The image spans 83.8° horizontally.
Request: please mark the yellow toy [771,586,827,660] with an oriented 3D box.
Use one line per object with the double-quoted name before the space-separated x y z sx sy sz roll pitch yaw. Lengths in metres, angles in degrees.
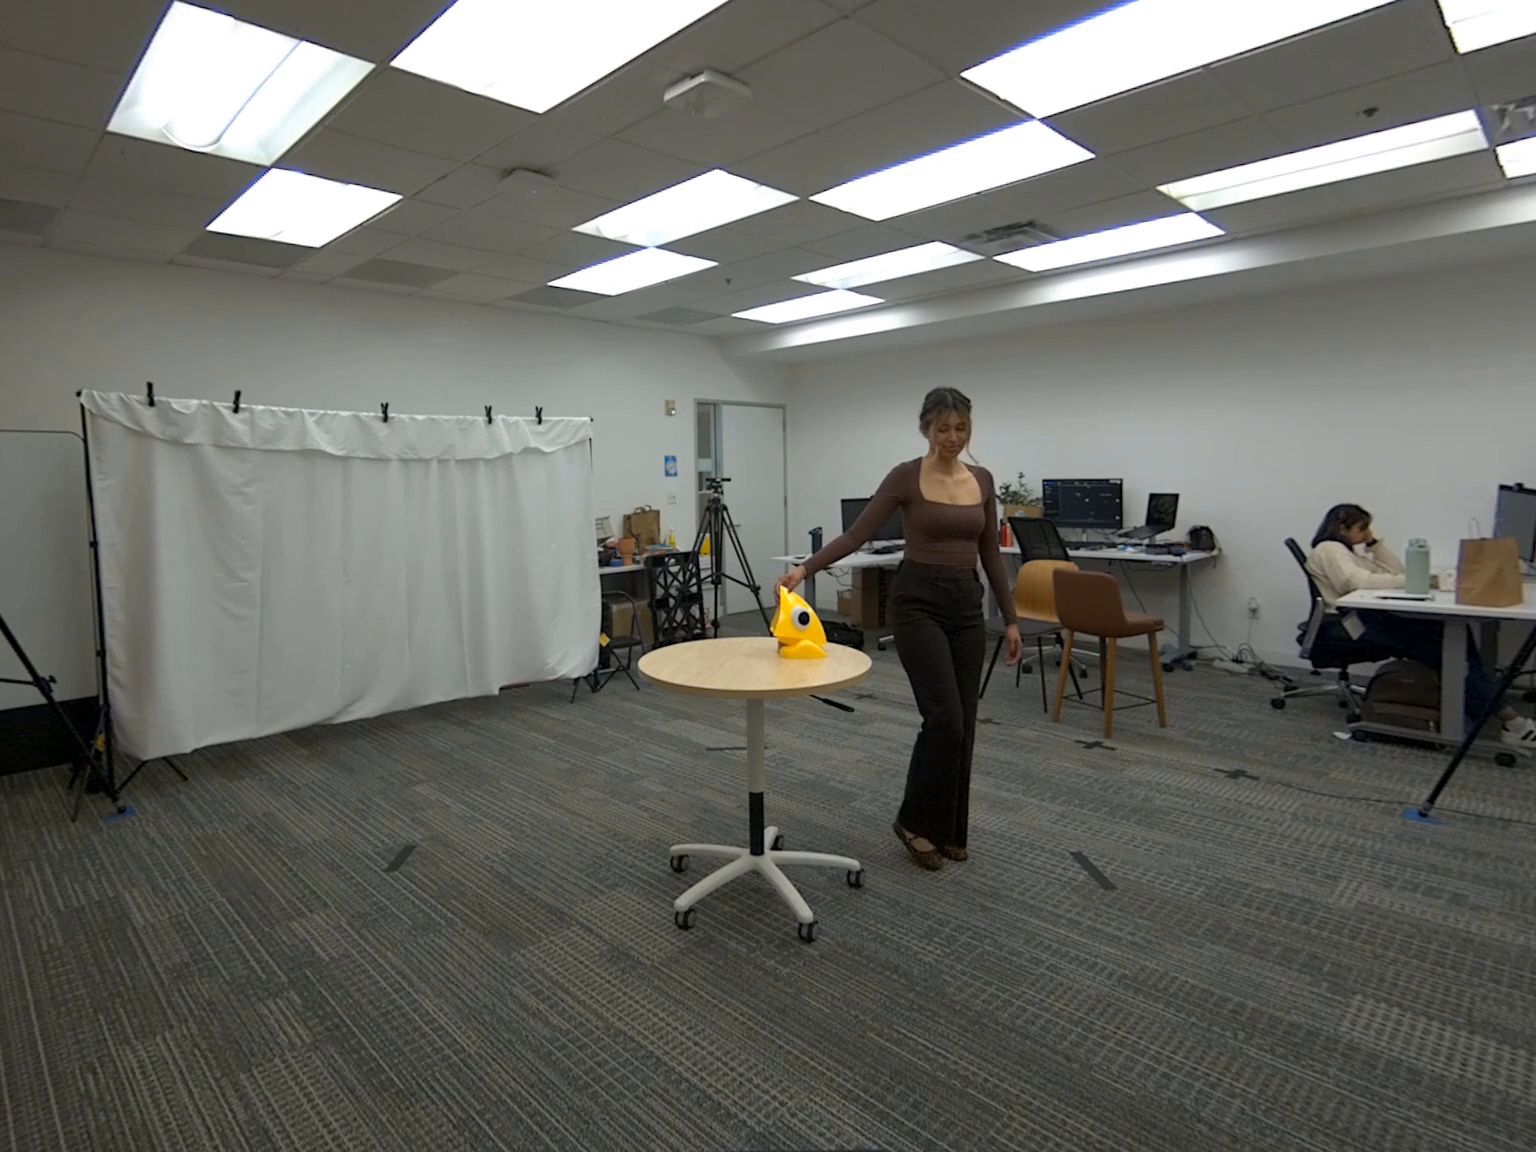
"yellow toy" 0.107 0.148 2.914 0.193 0.230 0.205 -1 5 -1
